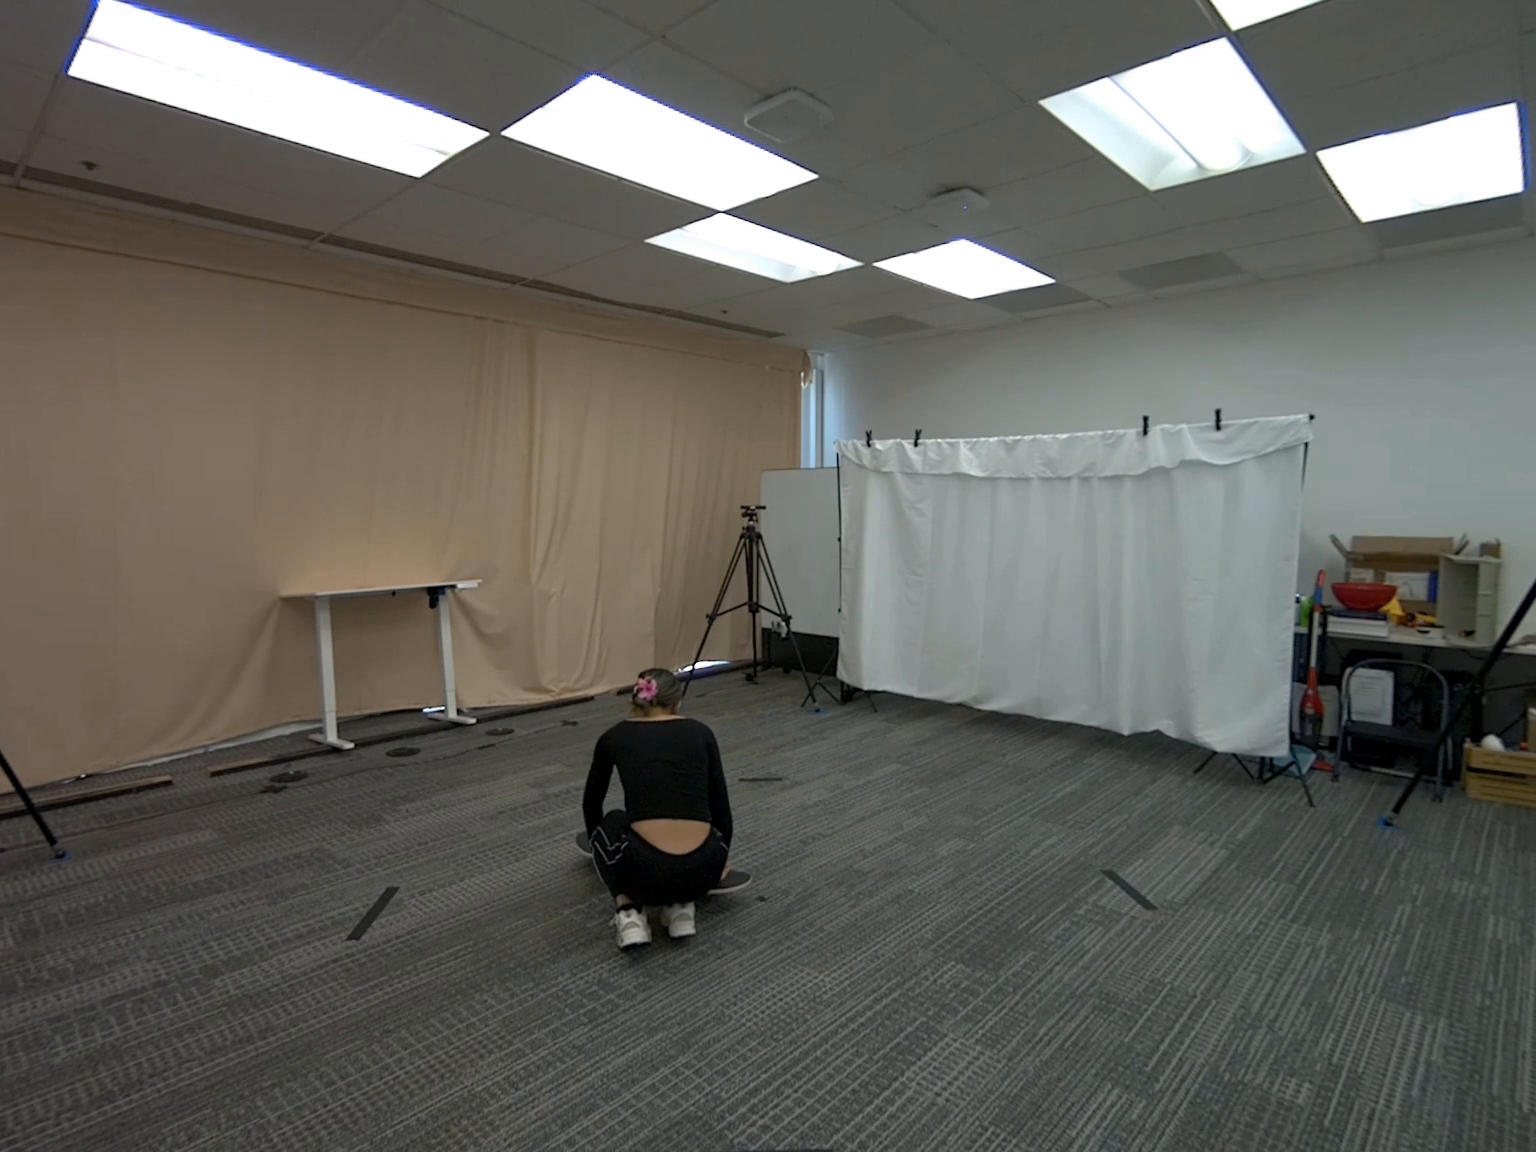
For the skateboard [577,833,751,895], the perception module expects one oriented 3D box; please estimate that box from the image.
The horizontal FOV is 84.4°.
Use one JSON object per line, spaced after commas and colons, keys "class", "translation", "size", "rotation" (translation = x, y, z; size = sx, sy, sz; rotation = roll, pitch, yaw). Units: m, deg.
{"class": "skateboard", "translation": [-0.394, 1.076, 3.095], "size": [0.810, 0.110, 0.188], "rotation": [2, 5, 34]}
